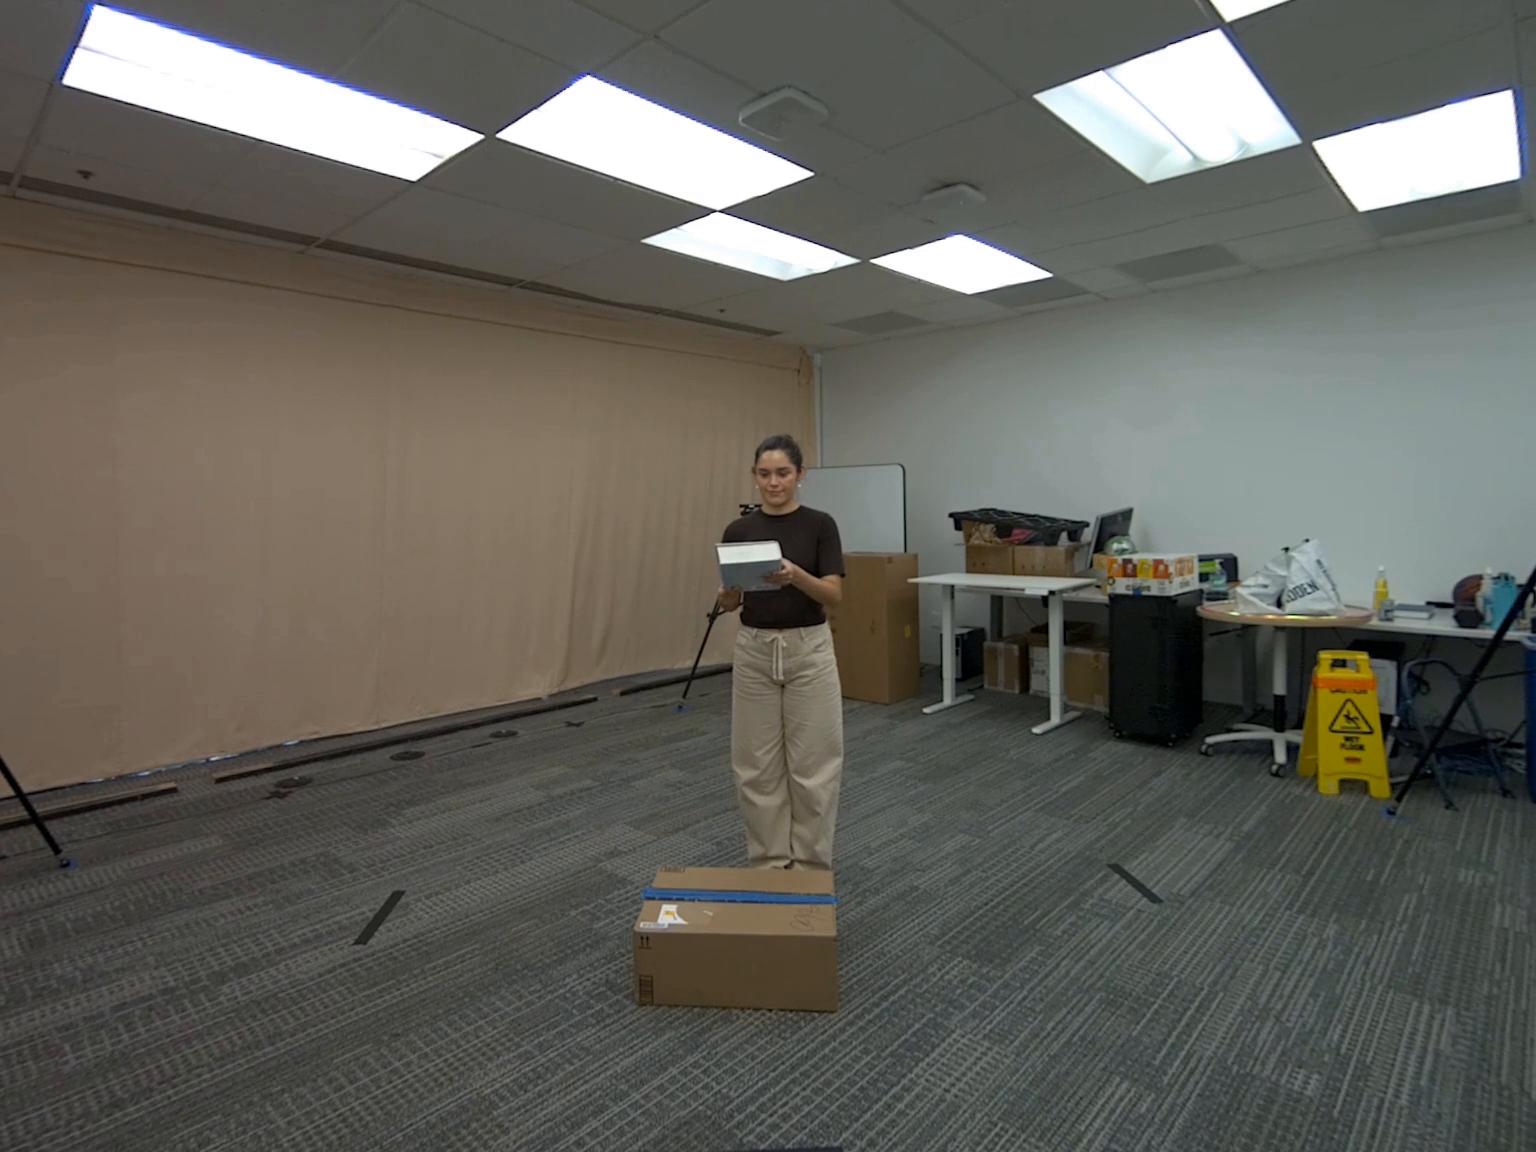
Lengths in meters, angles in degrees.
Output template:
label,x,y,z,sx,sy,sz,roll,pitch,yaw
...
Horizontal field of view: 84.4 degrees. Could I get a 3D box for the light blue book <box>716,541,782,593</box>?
label,x,y,z,sx,sy,sz,roll,pitch,yaw
light blue book,-0.074,-0.031,2.617,0.192,0.060,0.257,-2,-20,2
